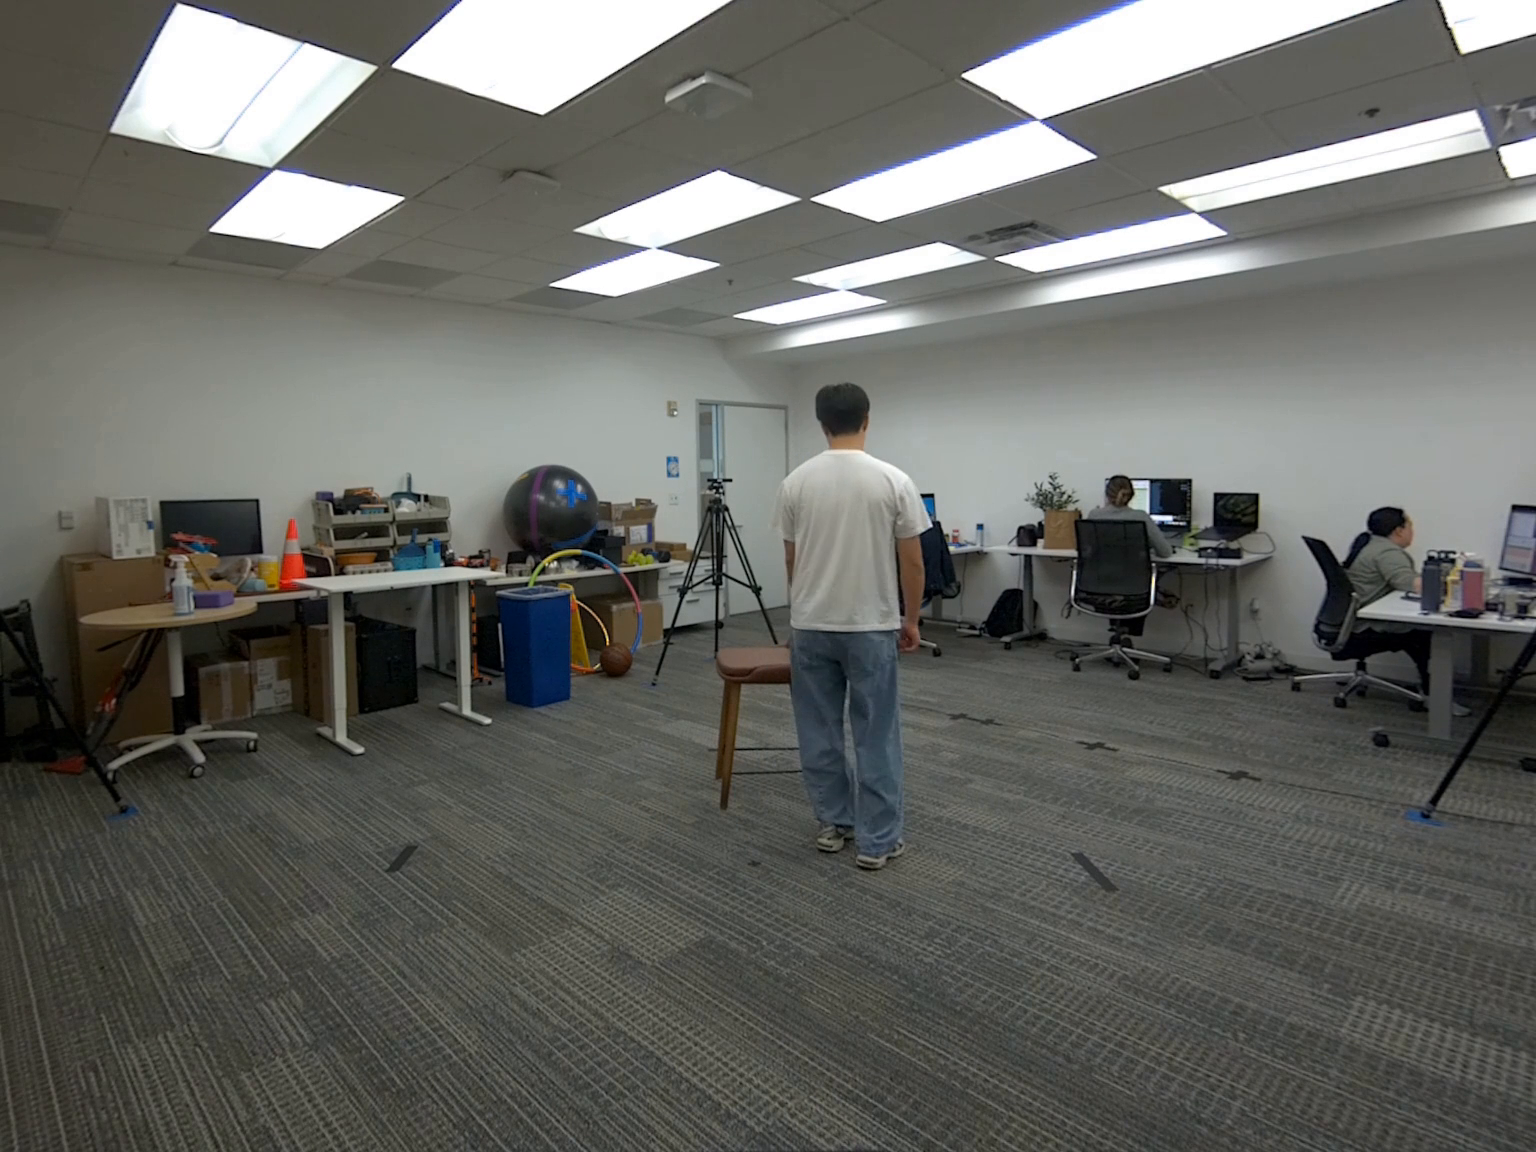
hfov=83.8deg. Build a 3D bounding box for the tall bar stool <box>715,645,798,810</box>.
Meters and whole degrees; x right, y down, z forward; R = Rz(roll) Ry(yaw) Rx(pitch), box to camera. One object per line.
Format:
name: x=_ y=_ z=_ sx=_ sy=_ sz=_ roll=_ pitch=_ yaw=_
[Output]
tall bar stool: x=0.005 y=0.531 z=3.809 sx=0.465 sy=0.887 sz=0.460 roll=1 pitch=3 yaw=-5
